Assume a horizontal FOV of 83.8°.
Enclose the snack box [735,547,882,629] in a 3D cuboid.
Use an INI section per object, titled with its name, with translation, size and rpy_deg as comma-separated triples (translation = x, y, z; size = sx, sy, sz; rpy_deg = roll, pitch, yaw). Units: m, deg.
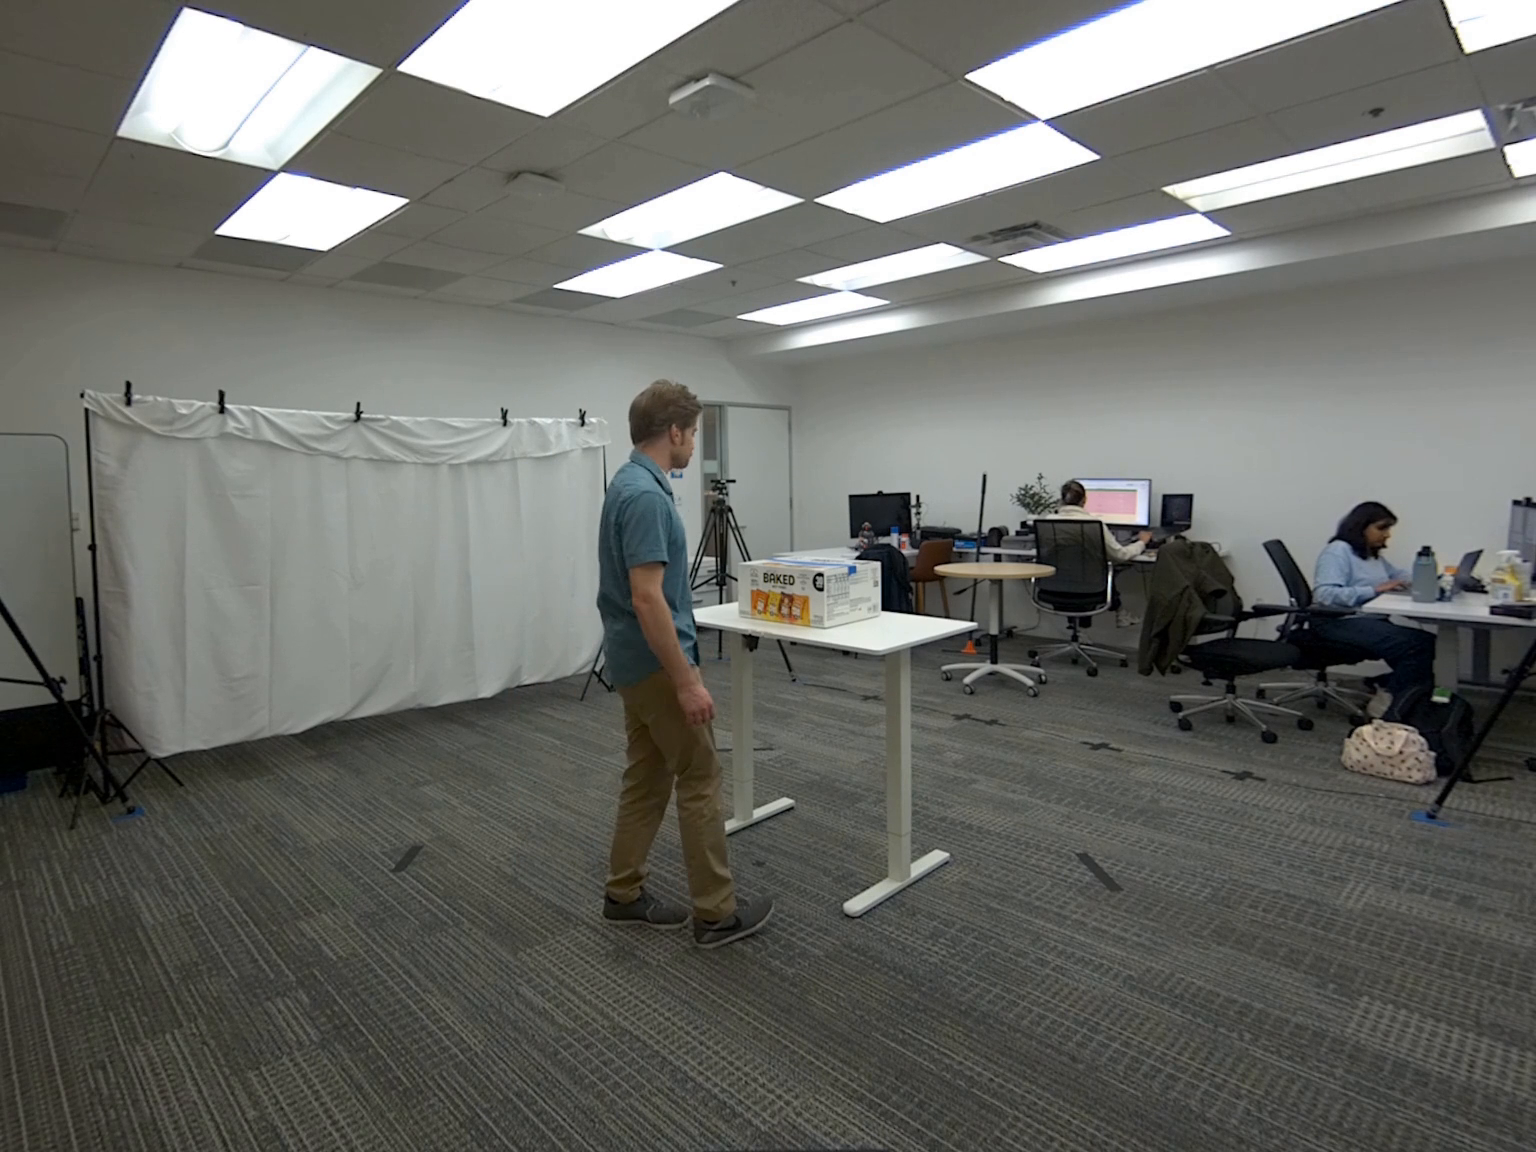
[snack box]
translation = 0.155, 0.050, 3.172
size = 0.418, 0.205, 0.332
rpy_deg = 5, 9, 43
